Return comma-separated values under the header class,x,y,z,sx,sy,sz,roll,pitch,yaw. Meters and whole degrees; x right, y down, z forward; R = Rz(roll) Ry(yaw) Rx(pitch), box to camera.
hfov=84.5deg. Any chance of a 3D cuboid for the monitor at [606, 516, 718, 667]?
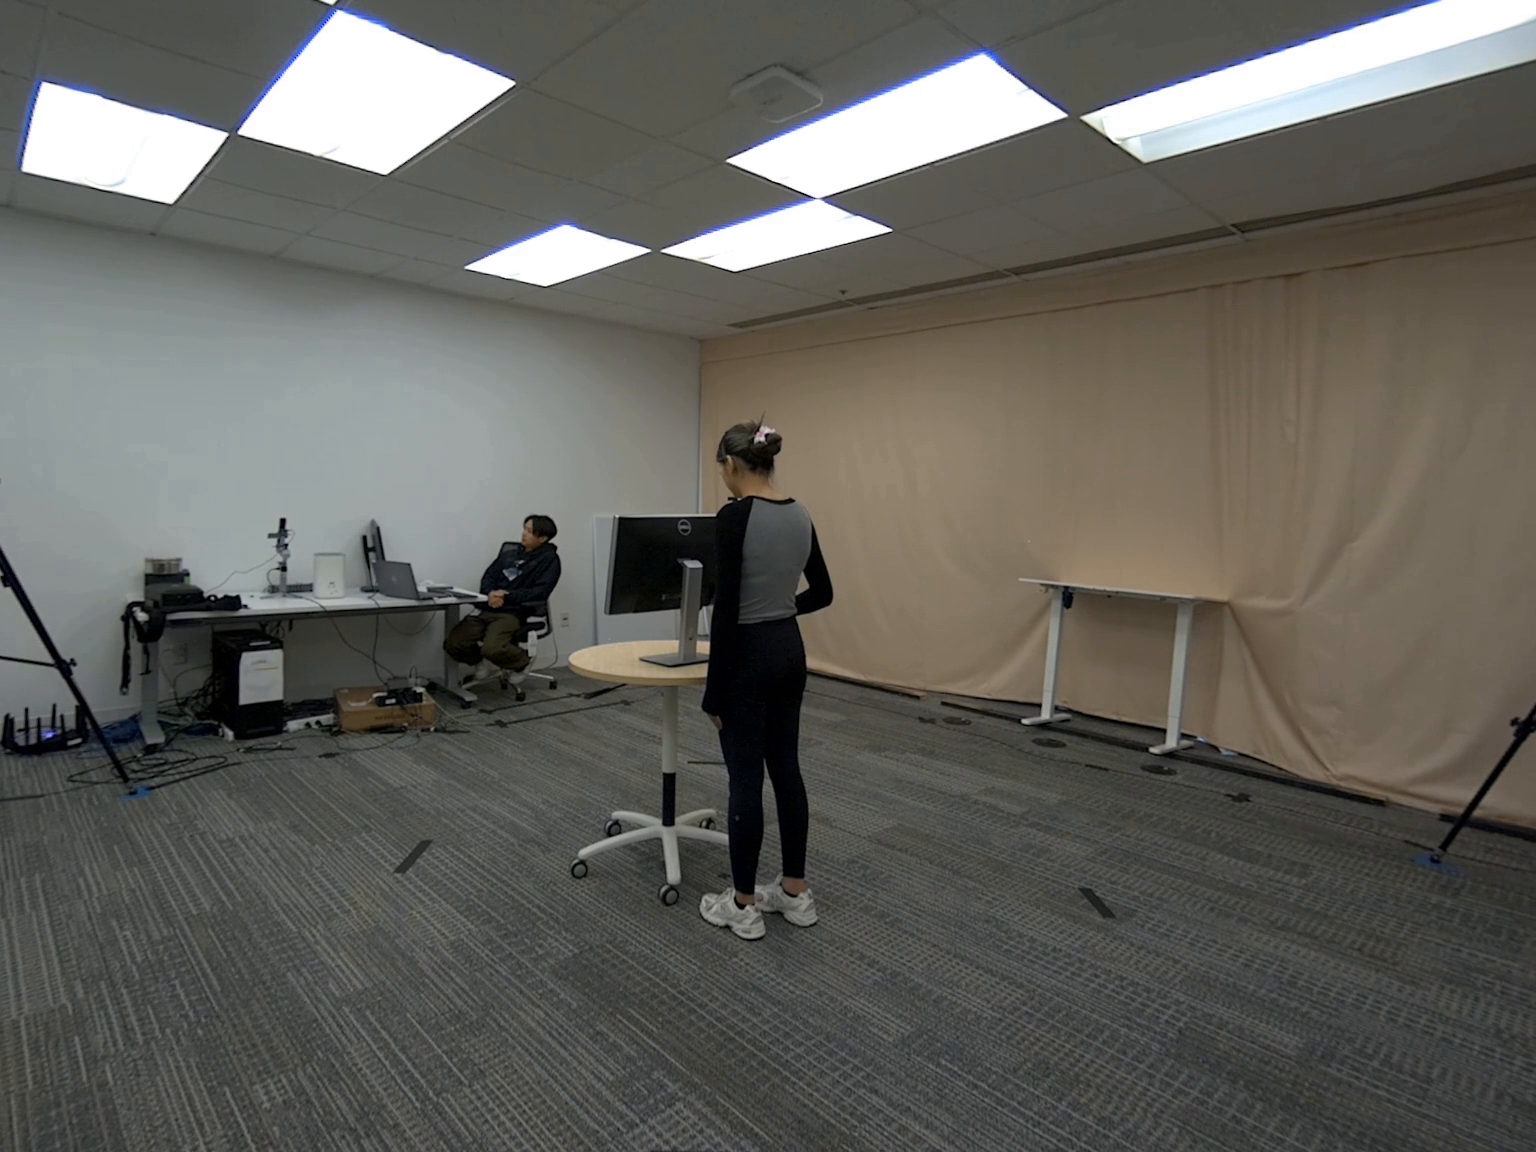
class,x,y,z,sx,sy,sz,roll,pitch,yaw
monitor,-0.330,0.048,3.109,0.527,0.522,0.191,-3,3,-43
